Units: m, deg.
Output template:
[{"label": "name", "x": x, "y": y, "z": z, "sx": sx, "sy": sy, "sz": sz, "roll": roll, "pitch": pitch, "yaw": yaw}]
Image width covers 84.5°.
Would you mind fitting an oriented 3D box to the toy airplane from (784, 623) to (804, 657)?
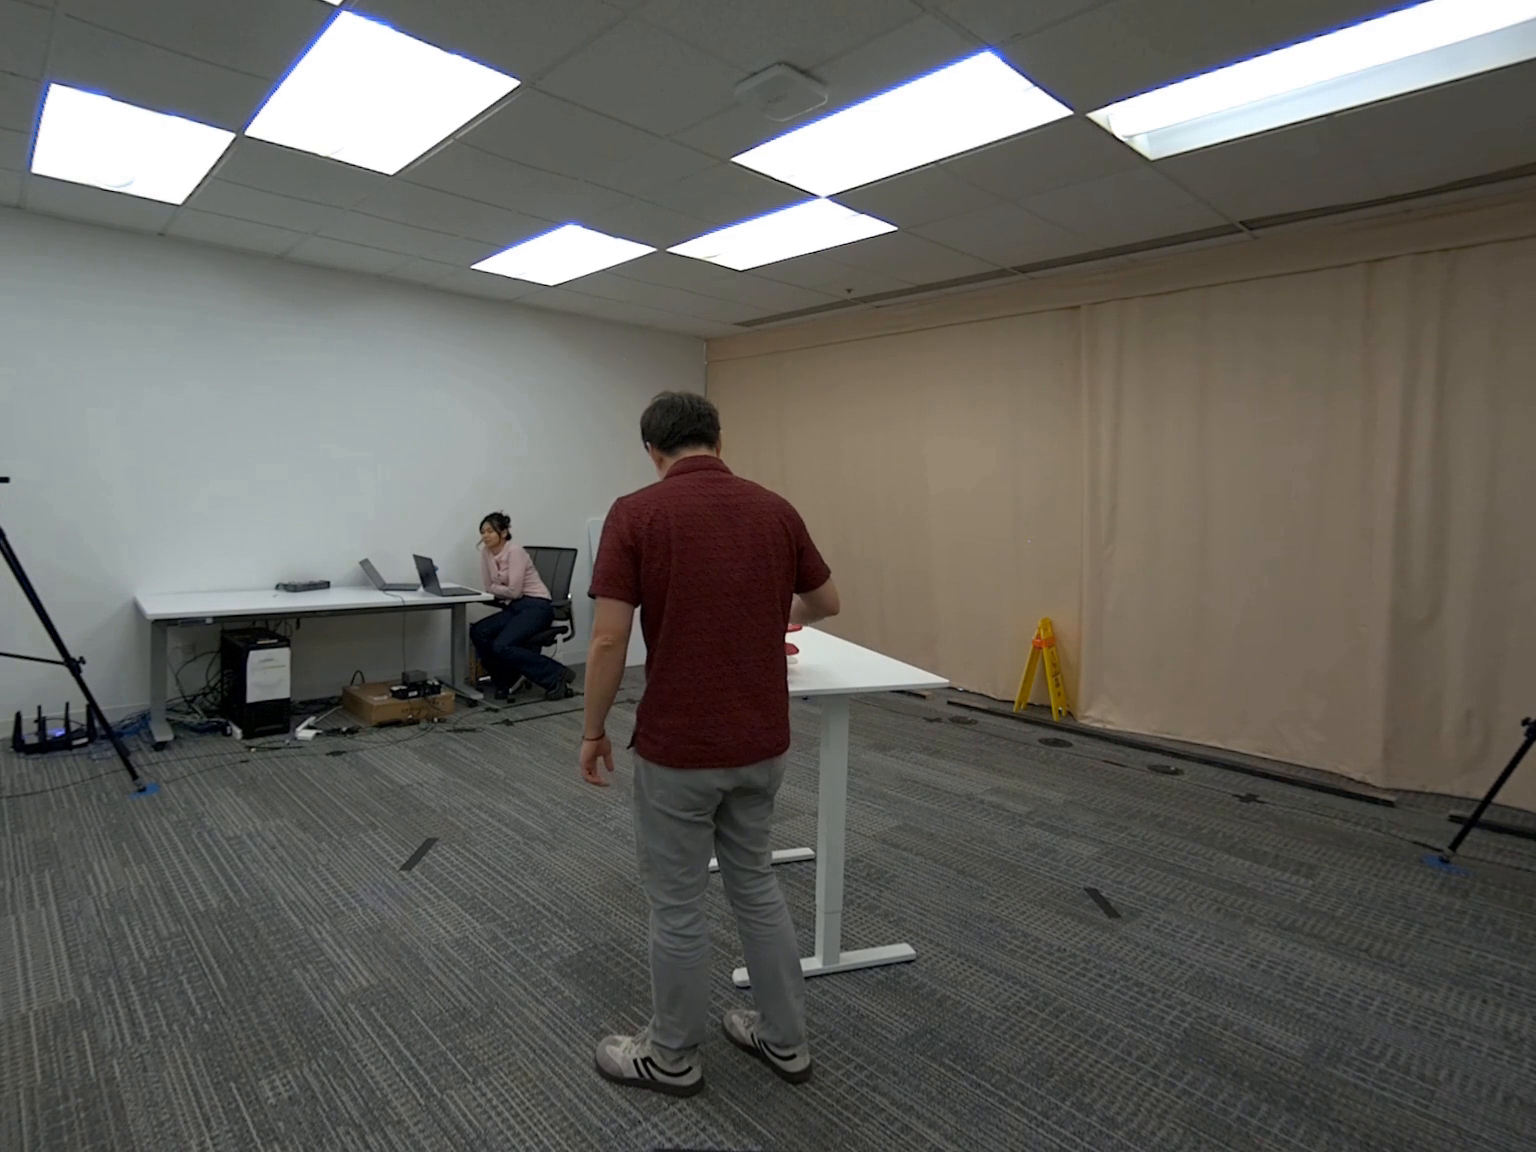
[{"label": "toy airplane", "x": -0.006, "y": 0.211, "z": 2.458, "sx": 0.266, "sy": 0.156, "sz": 0.245, "roll": 6, "pitch": 7, "yaw": 45}]
